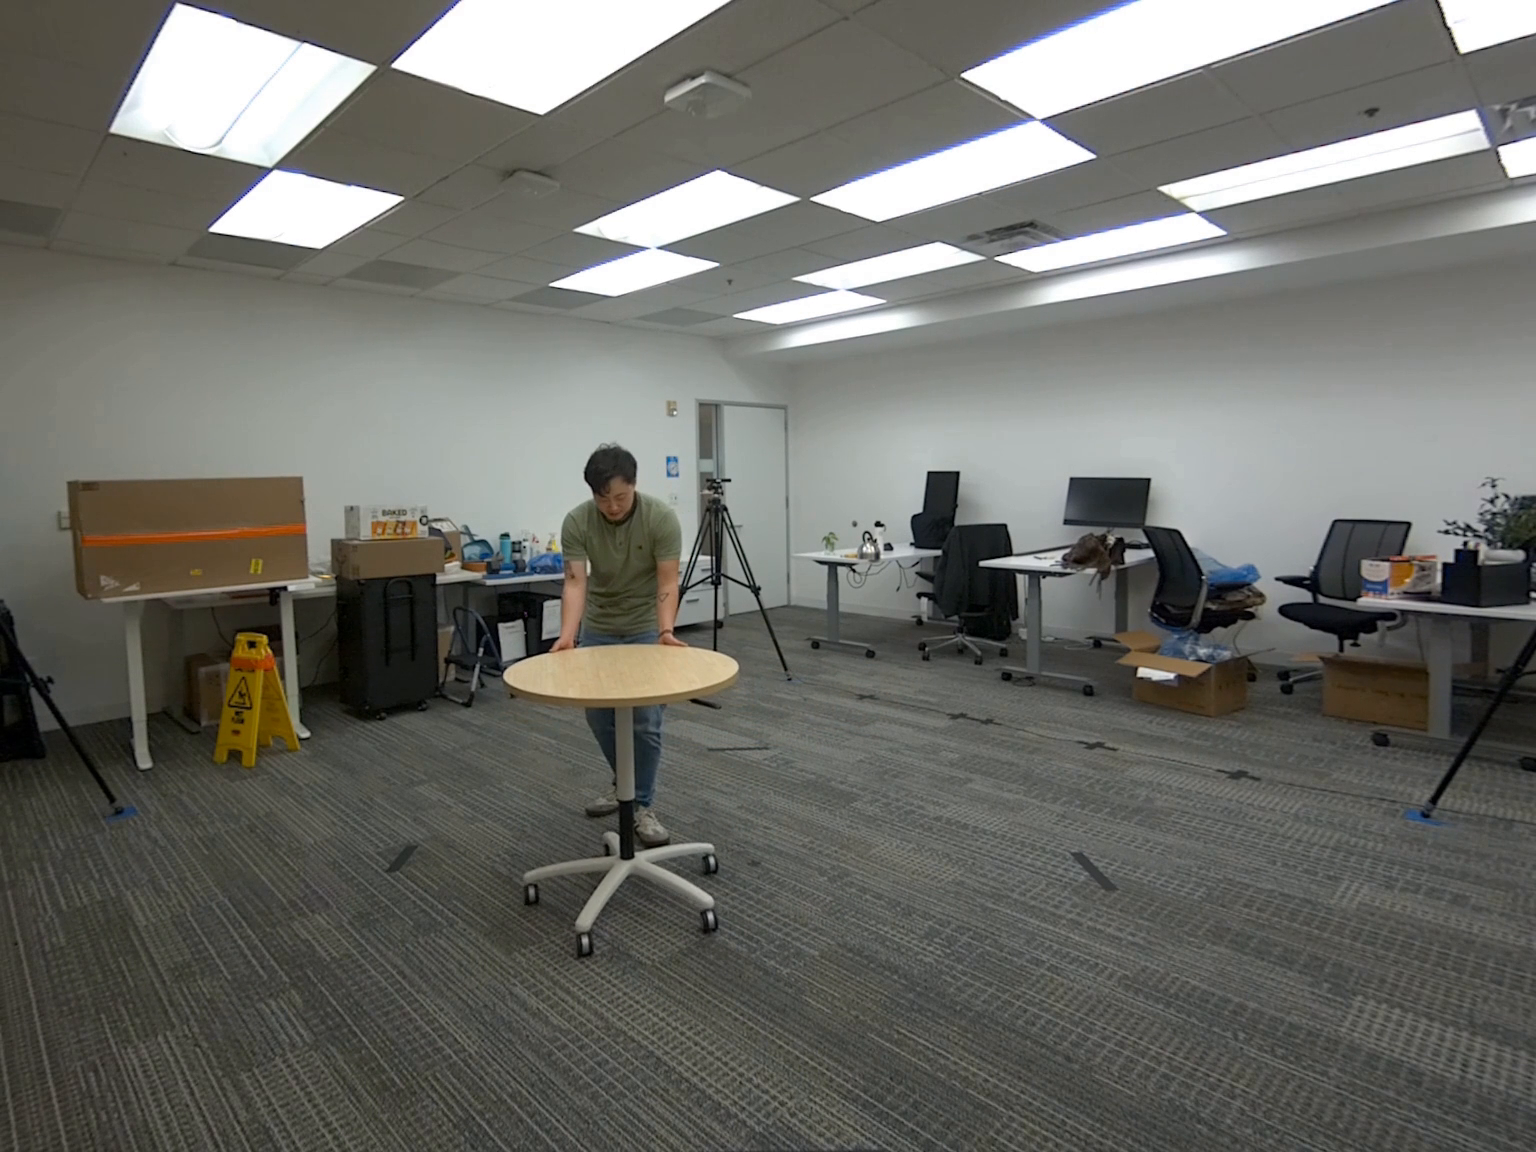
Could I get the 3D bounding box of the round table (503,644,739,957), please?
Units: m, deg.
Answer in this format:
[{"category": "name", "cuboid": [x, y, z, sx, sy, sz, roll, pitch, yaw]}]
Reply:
[{"category": "round table", "cuboid": [-0.473, 0.697, 2.832, 0.763, 0.791, 0.768, -1, 5, -2]}]
